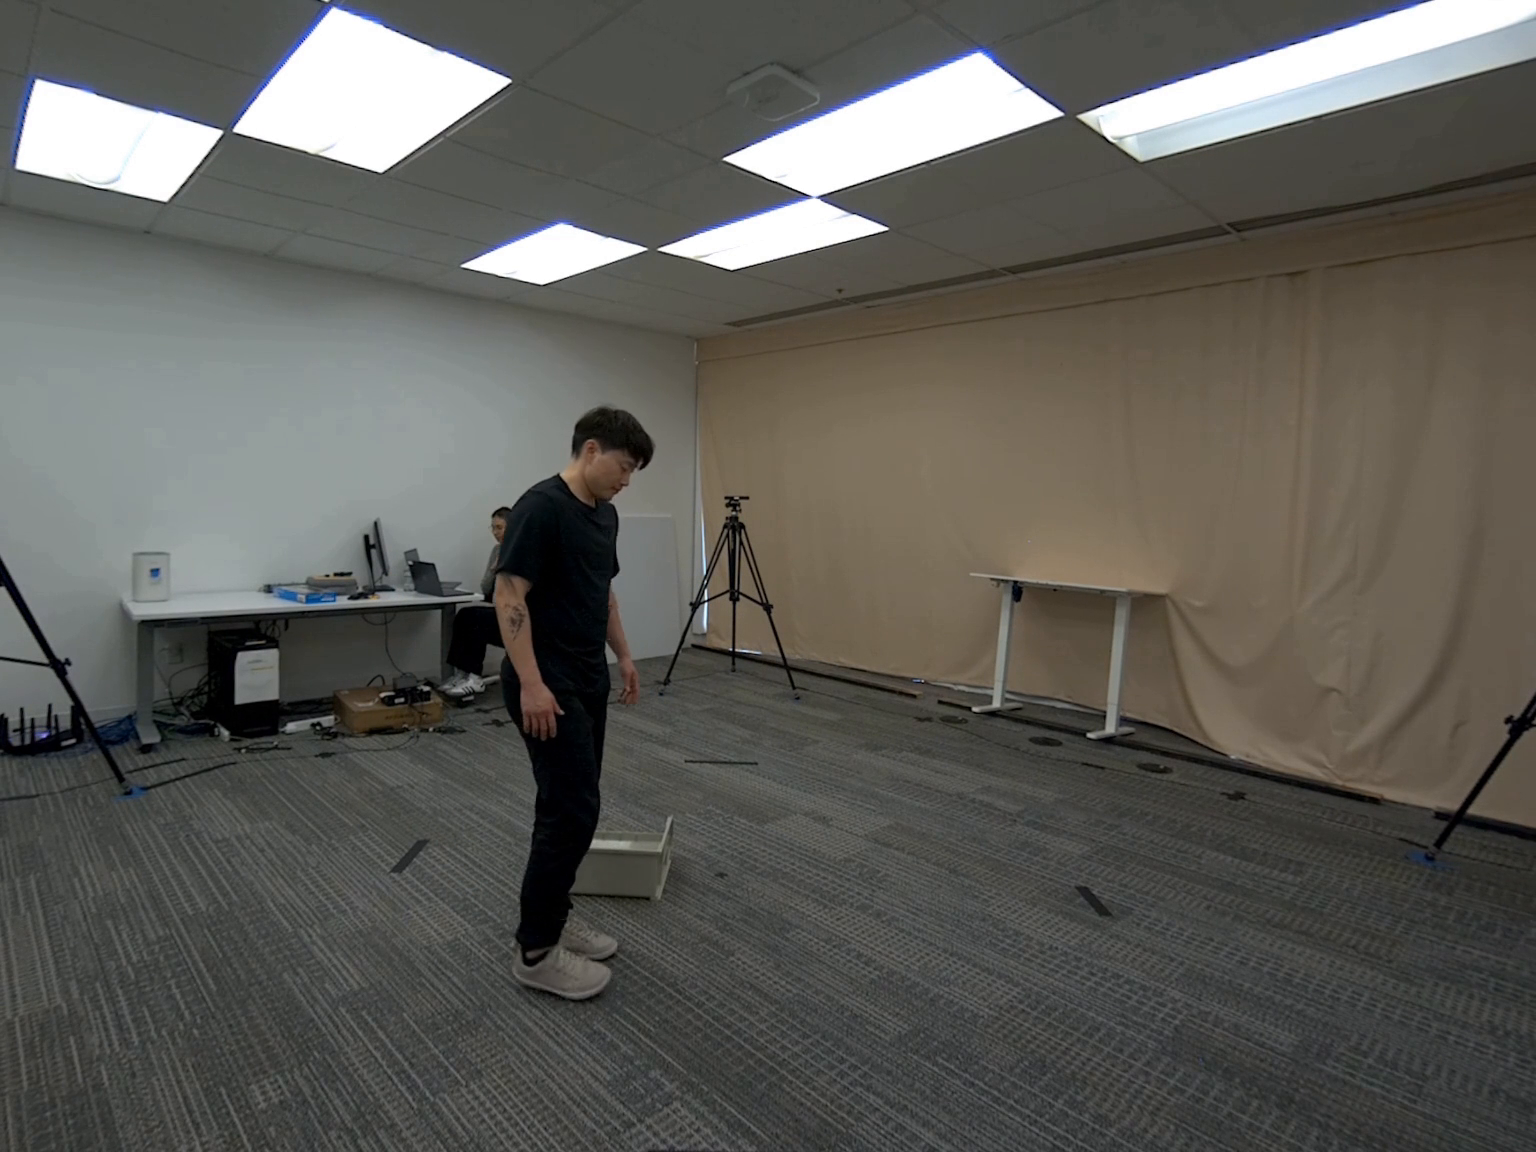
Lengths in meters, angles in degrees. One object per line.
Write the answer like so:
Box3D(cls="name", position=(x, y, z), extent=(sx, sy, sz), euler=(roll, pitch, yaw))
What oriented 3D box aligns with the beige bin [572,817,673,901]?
Box3D(cls="beige bin", position=(-0.580, 1.015, 3.077), extent=(0.423, 0.188, 0.378), euler=(2, 5, 1))
